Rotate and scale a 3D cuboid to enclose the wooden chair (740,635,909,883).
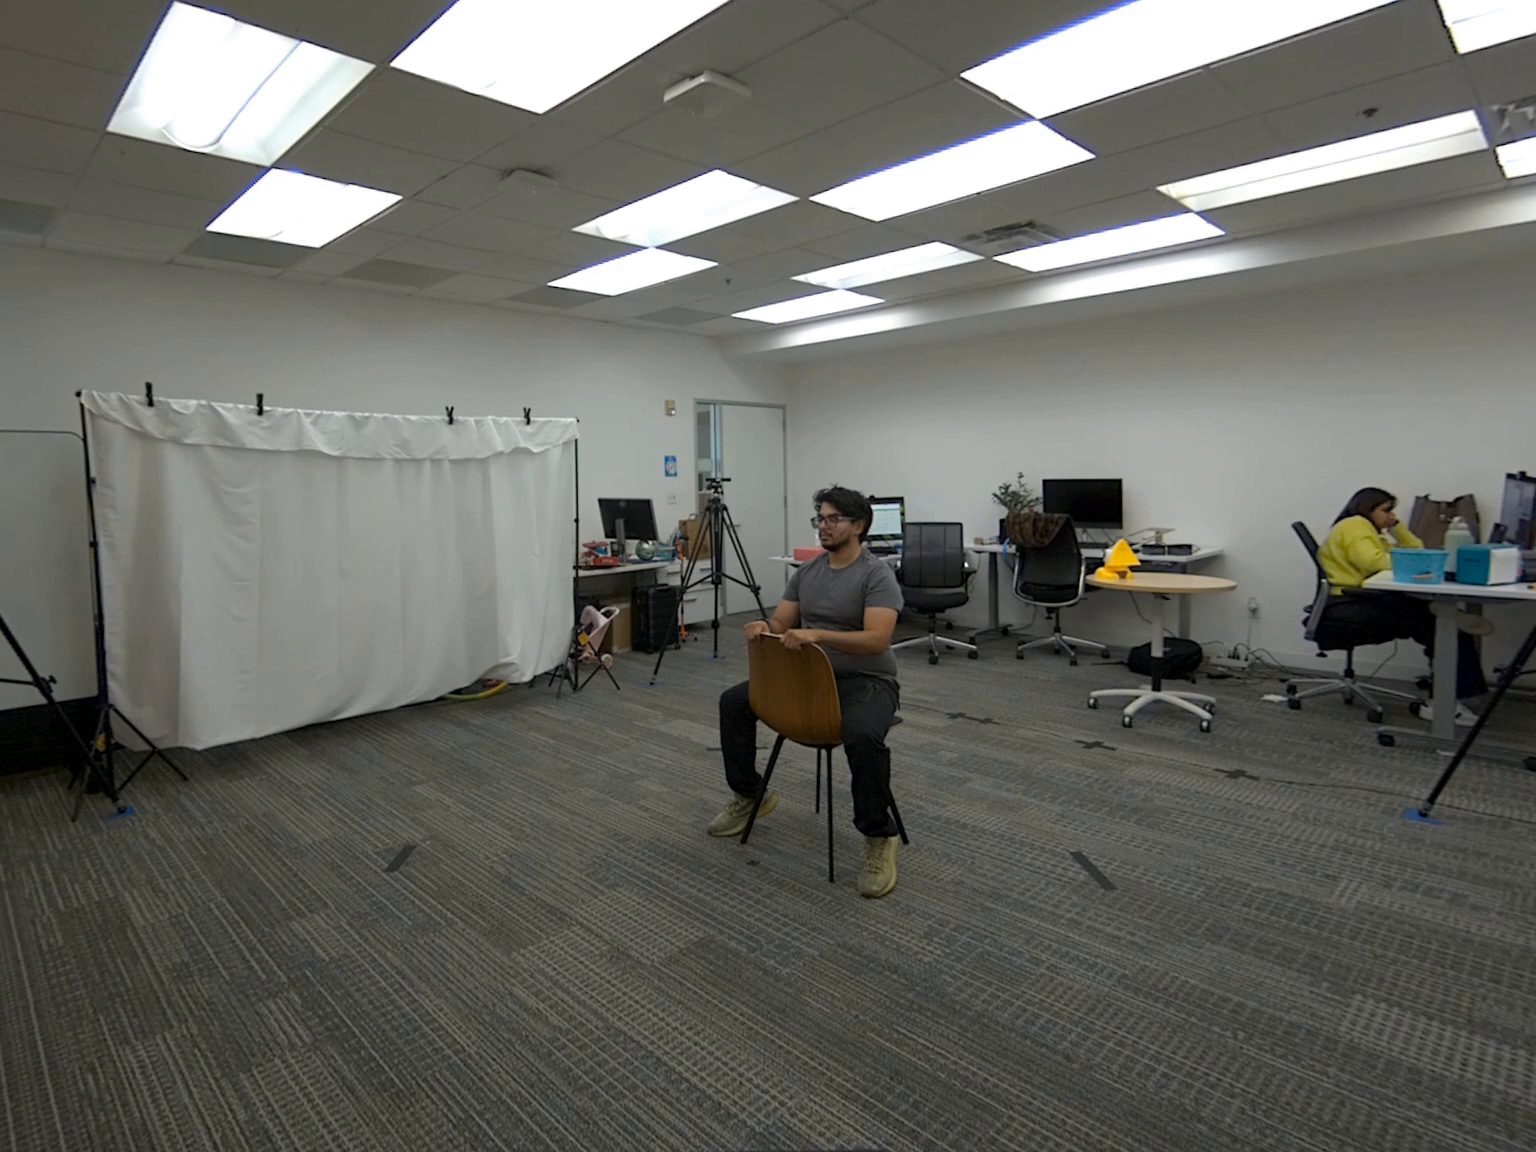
[{"bbox_3d":[0.215,0.597,3.233,0.511,0.872,0.493,-10,10,-44],"label":"wooden chair"}]
